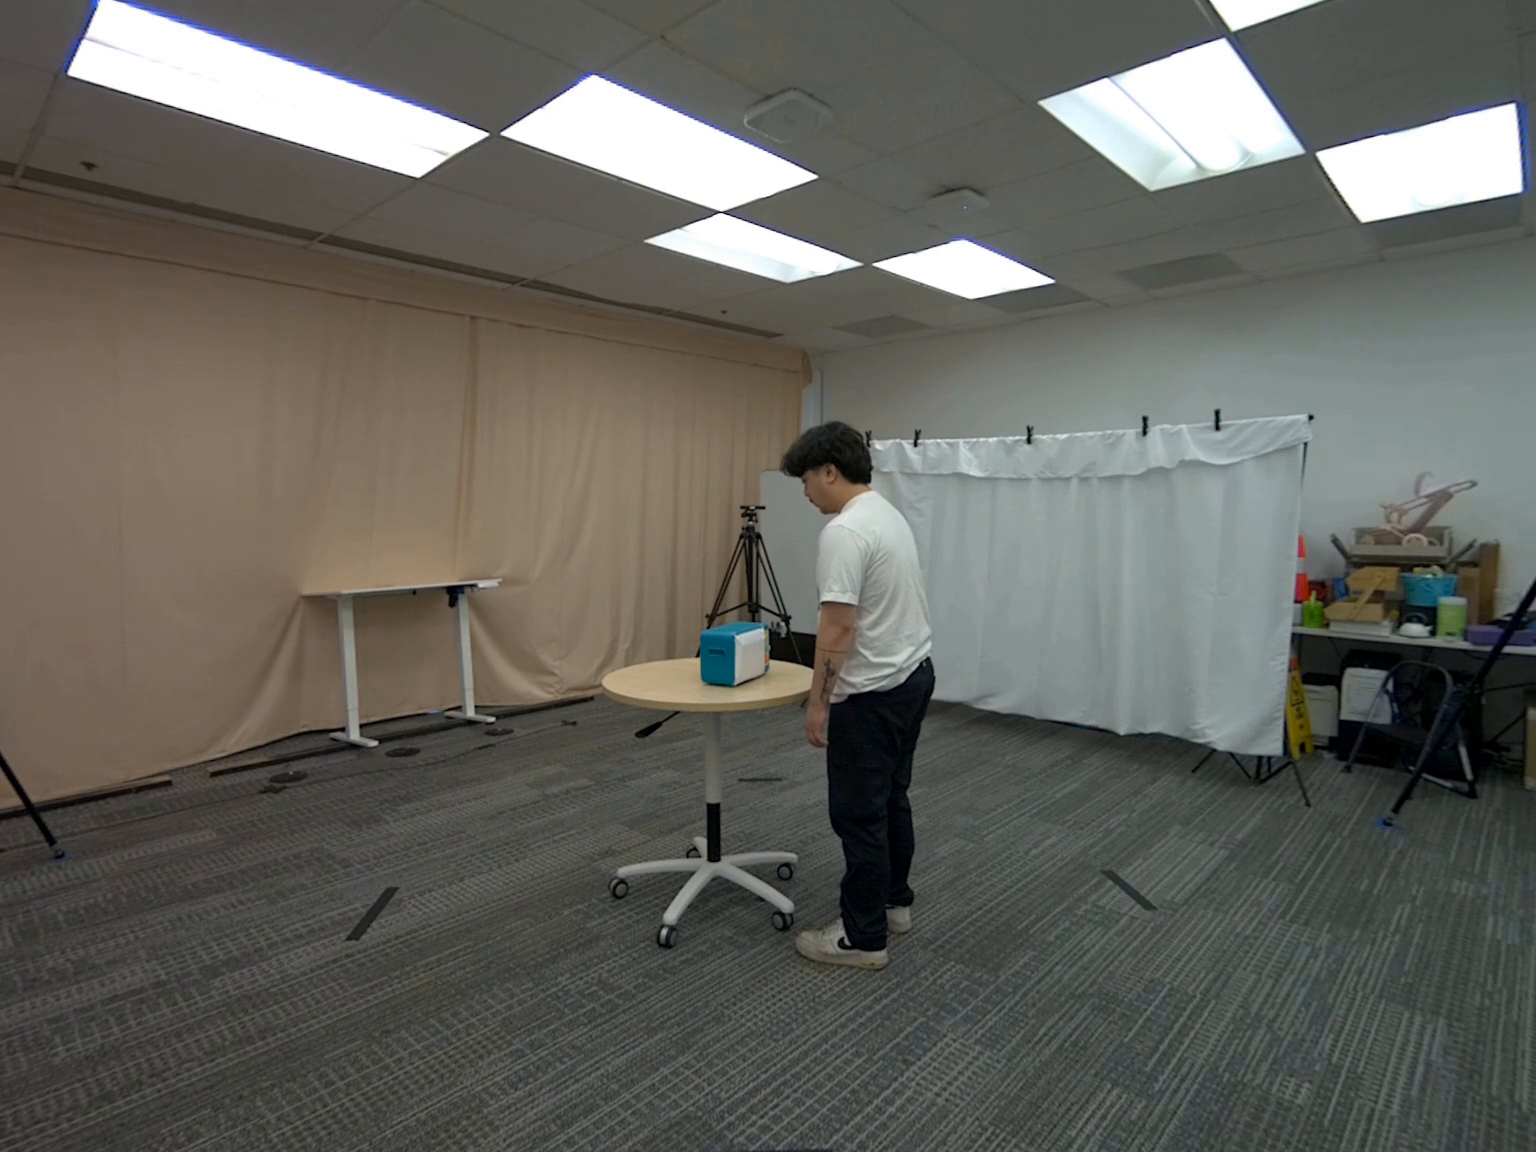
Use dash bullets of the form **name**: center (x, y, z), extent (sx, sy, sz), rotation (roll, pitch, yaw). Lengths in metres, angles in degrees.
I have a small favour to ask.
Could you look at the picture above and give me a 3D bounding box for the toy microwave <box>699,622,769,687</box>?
- **toy microwave**: center (-0.102, 0.266, 2.903), extent (0.156, 0.184, 0.279), rotation (2, 5, 28)
